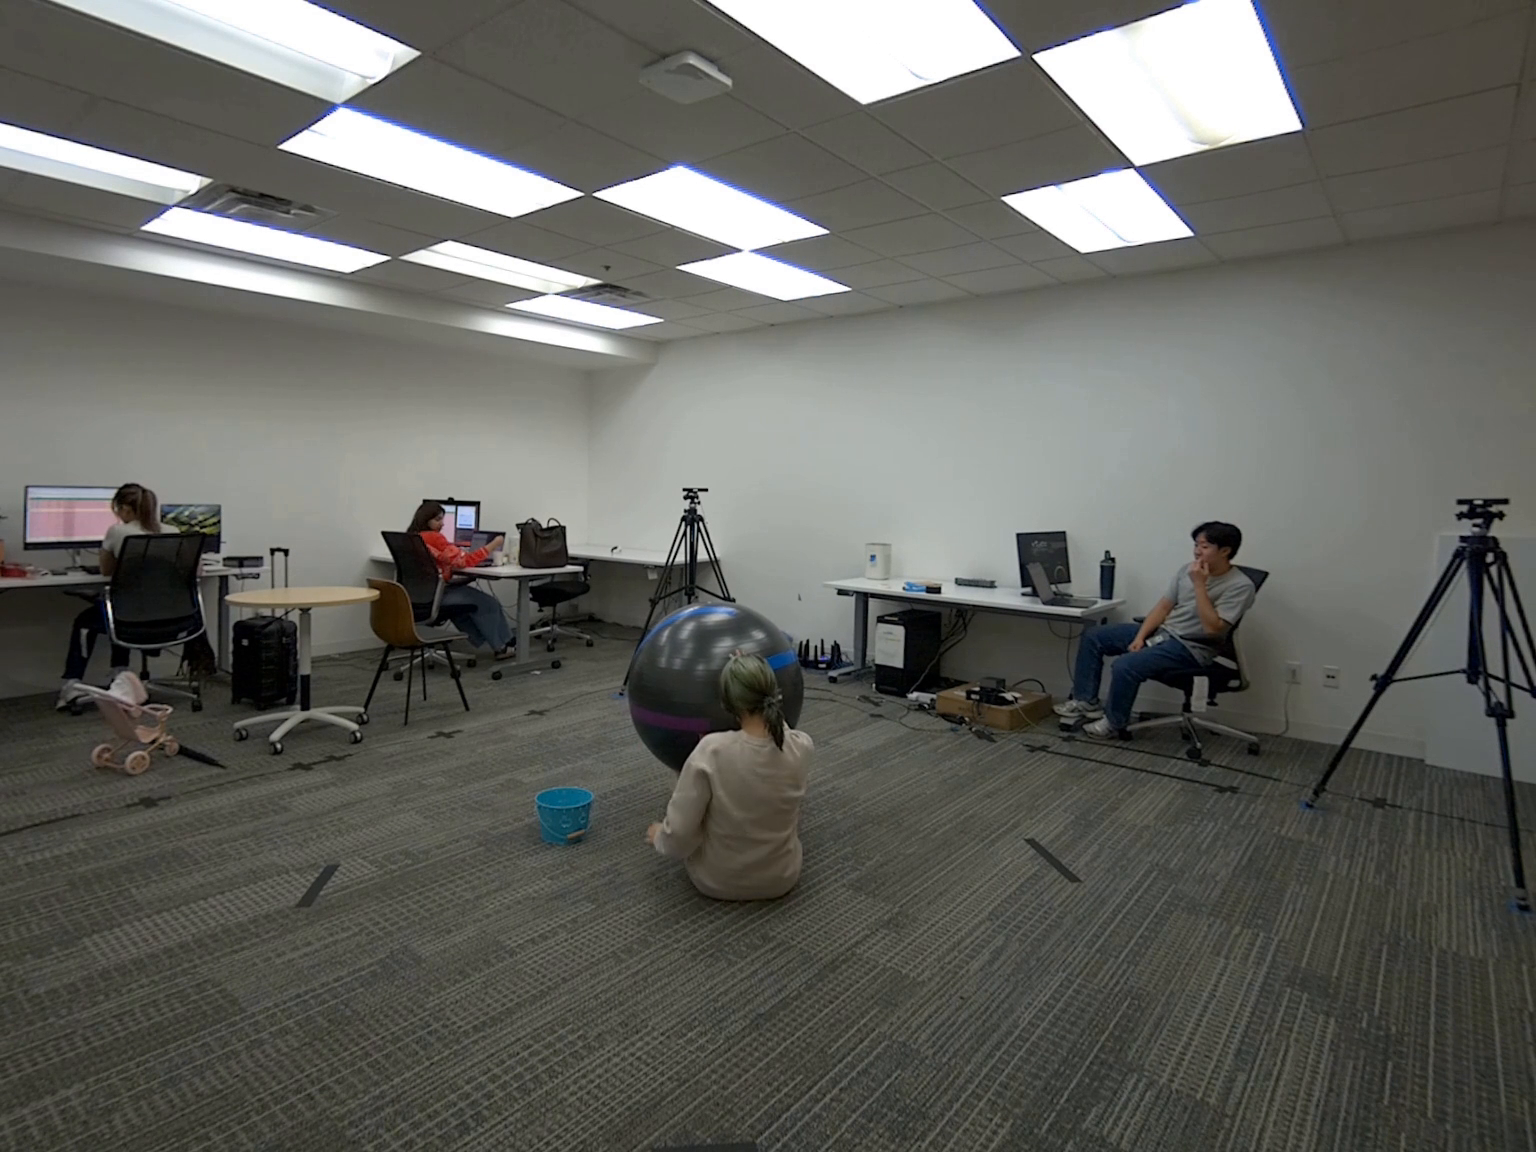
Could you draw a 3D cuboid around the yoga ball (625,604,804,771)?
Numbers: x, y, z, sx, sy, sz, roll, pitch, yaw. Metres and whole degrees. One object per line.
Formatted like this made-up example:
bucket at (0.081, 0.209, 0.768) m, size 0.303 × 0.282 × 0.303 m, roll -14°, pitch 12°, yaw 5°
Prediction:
yoga ball at (-0.240, 0.492, 3.675) m, size 0.757 × 0.756 × 0.761 m, roll 1°, pitch 4°, yaw -2°
